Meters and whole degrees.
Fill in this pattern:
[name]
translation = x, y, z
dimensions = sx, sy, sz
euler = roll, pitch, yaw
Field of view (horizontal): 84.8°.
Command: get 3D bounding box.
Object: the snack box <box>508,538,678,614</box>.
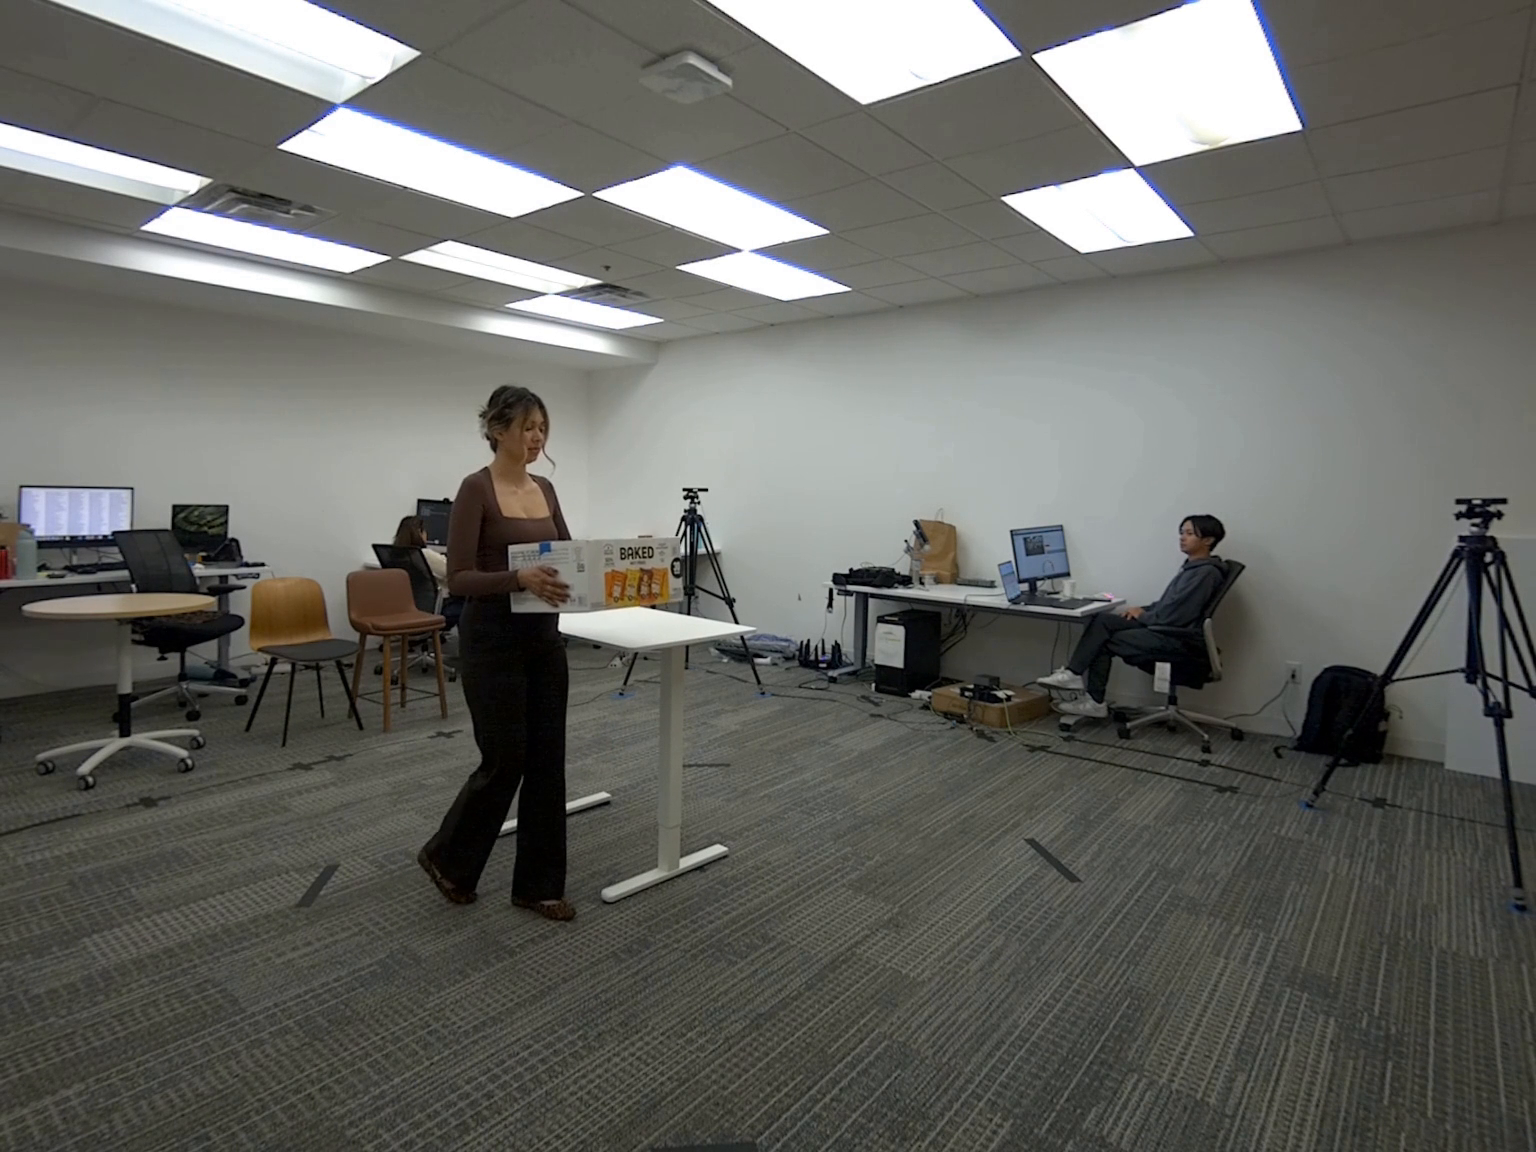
[snack box]
translation = -0.532, -0.006, 2.588
dimensions = 0.350, 0.206, 0.394
euler = -3, 2, 36
